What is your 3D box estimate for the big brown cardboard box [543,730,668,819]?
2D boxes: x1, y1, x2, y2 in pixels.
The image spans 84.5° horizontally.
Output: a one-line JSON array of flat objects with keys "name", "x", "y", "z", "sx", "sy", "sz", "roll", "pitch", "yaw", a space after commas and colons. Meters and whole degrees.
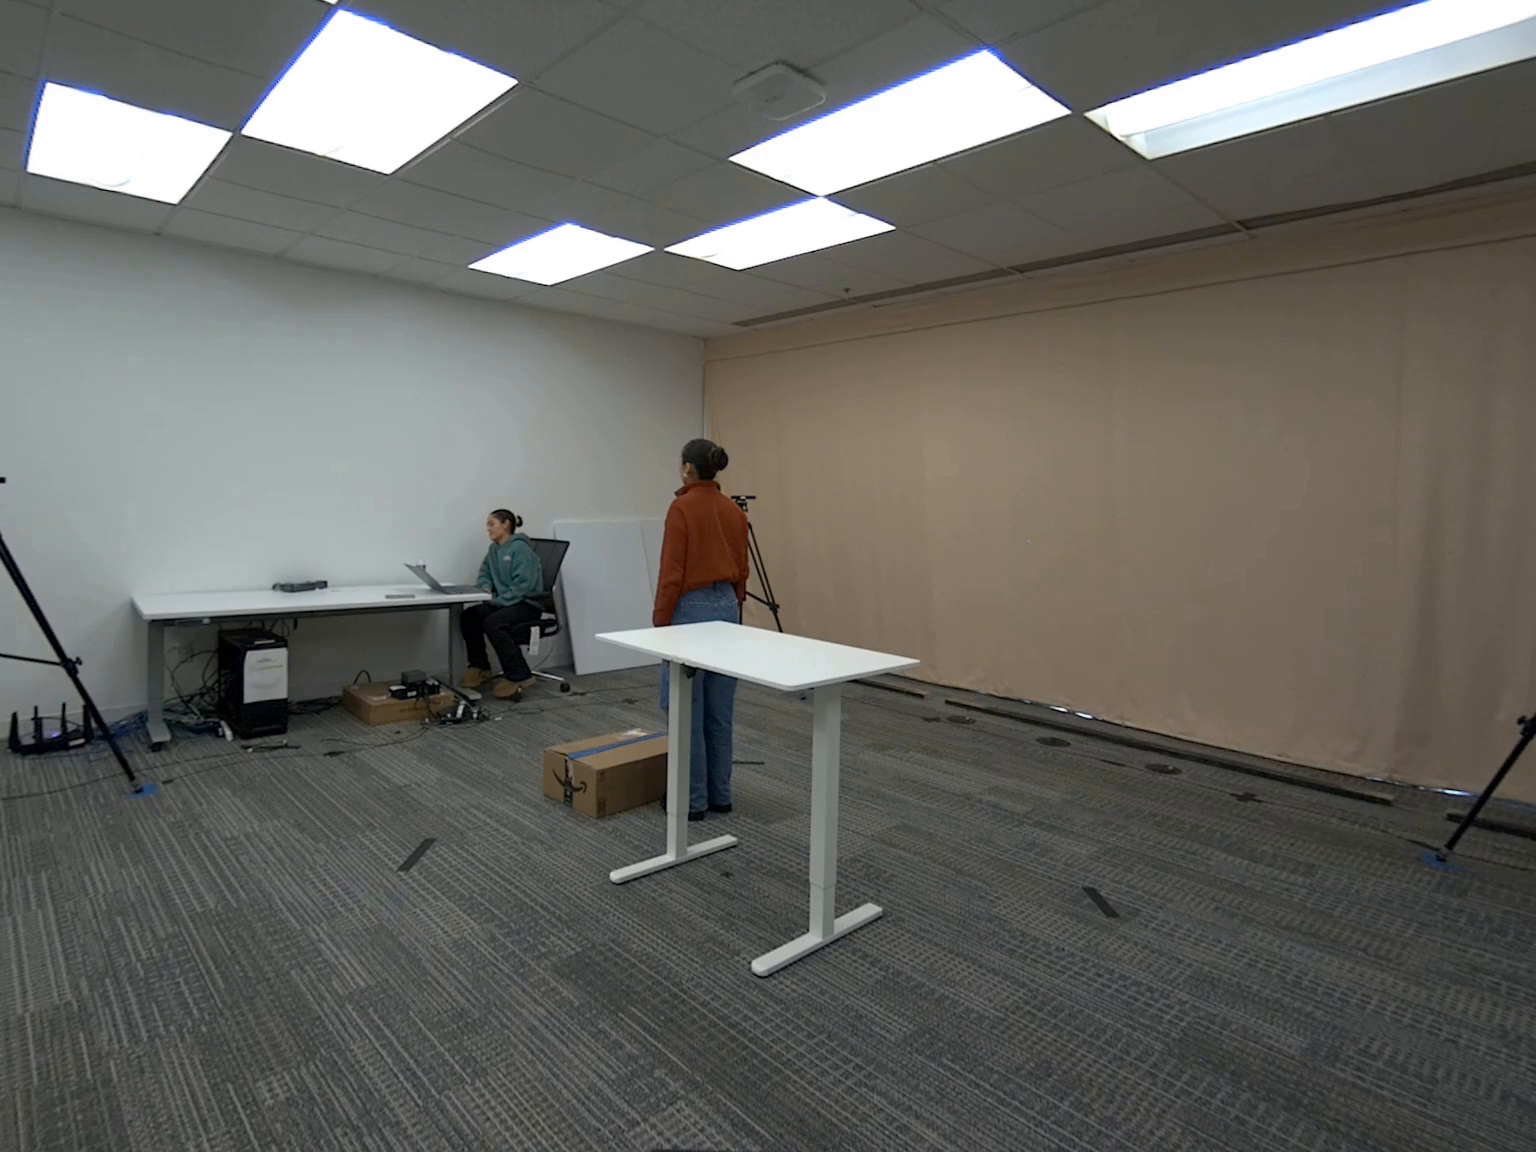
[{"name": "big brown cardboard box", "x": -0.702, "y": 0.901, "z": 3.945, "sx": 0.428, "sy": 0.232, "sz": 0.576, "roll": 5, "pitch": 7, "yaw": 43}]
